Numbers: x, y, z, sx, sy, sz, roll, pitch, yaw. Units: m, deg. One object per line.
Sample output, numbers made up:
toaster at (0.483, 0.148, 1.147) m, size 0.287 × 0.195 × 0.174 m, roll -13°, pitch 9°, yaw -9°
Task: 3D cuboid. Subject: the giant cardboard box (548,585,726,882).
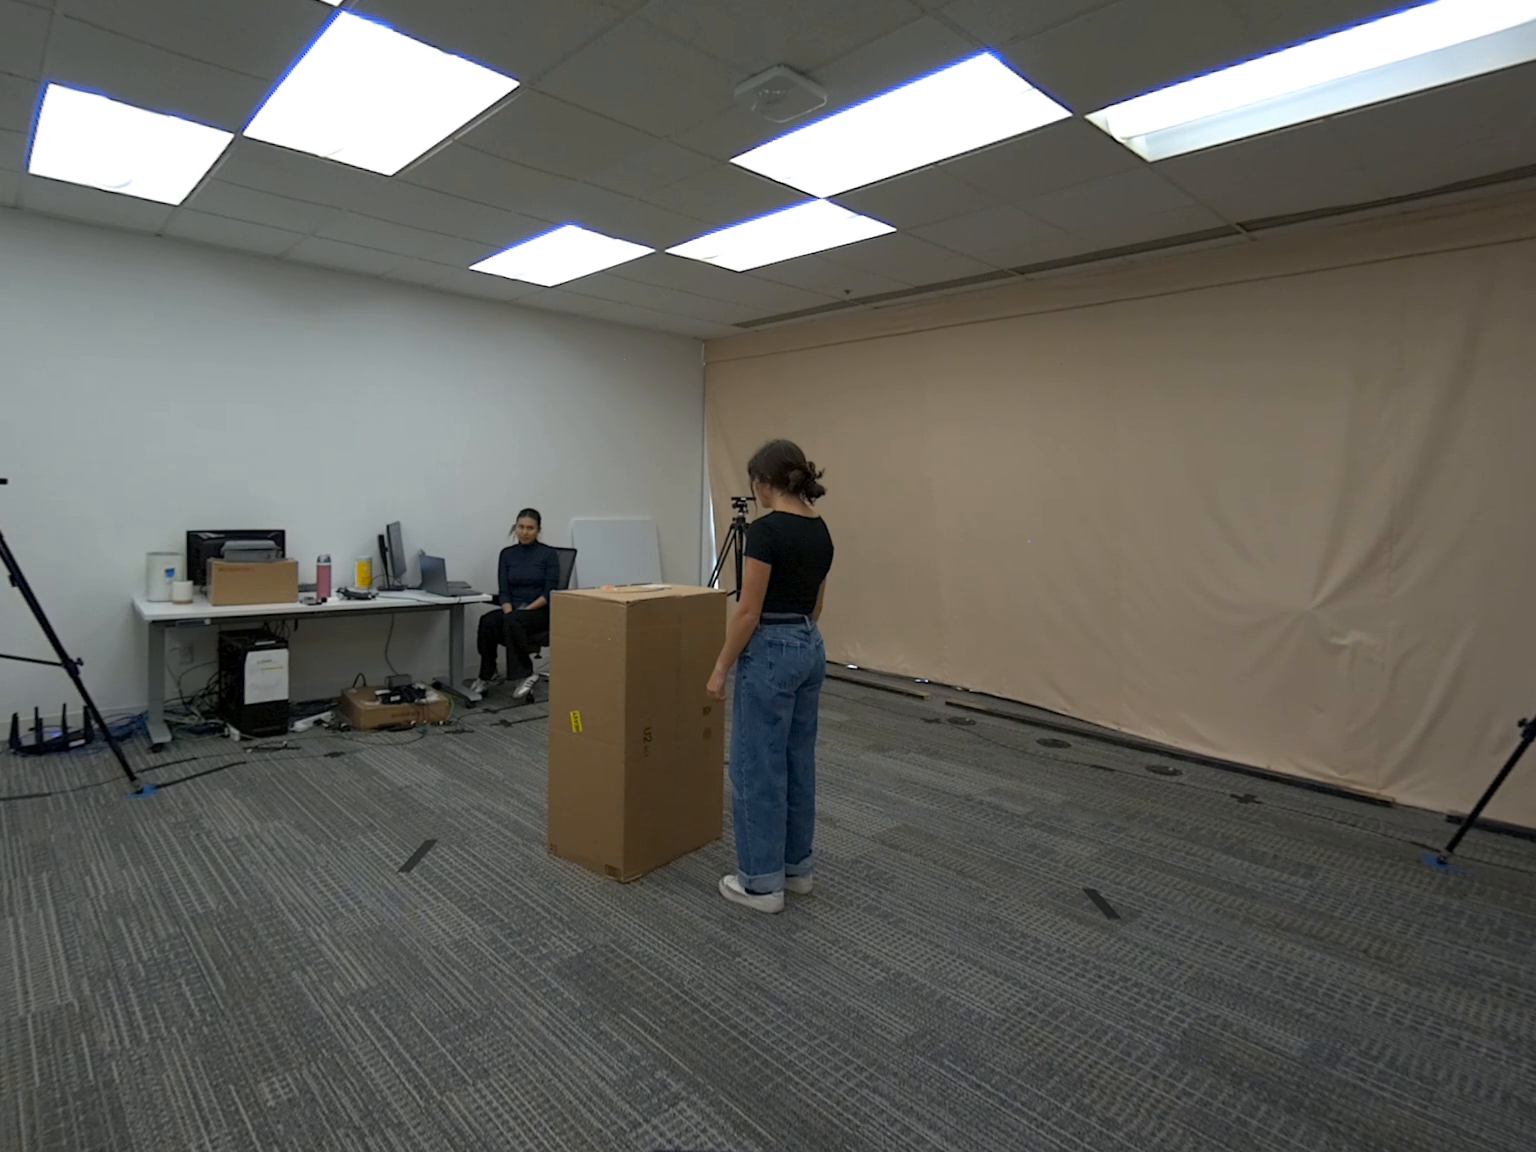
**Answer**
giant cardboard box at (-0.519, 0.567, 3.350) m, size 0.437 × 1.023 × 0.565 m, roll 4°, pitch 4°, yaw 37°
